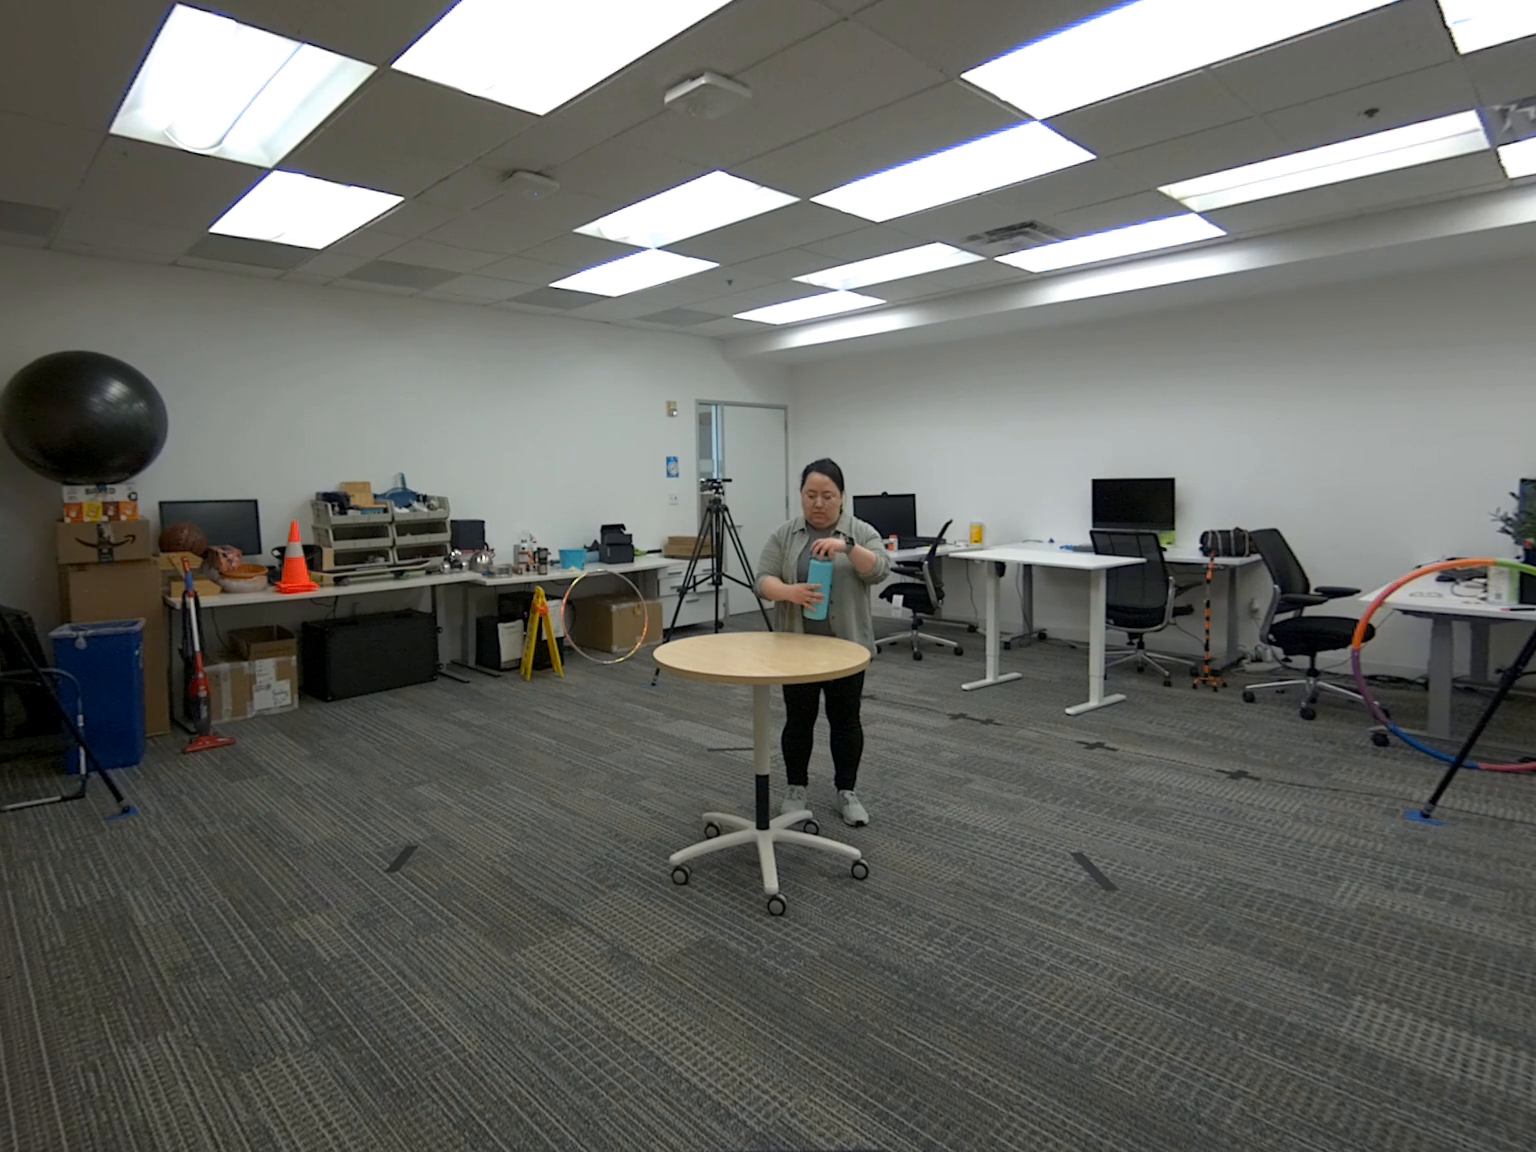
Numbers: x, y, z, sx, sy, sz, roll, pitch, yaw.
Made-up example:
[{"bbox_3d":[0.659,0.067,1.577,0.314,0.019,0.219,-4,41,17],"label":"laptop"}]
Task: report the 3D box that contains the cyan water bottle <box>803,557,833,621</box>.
[{"bbox_3d":[0.202,0.022,3.305,0.092,0.281,0.093,4,9,-2],"label":"cyan water bottle"}]
